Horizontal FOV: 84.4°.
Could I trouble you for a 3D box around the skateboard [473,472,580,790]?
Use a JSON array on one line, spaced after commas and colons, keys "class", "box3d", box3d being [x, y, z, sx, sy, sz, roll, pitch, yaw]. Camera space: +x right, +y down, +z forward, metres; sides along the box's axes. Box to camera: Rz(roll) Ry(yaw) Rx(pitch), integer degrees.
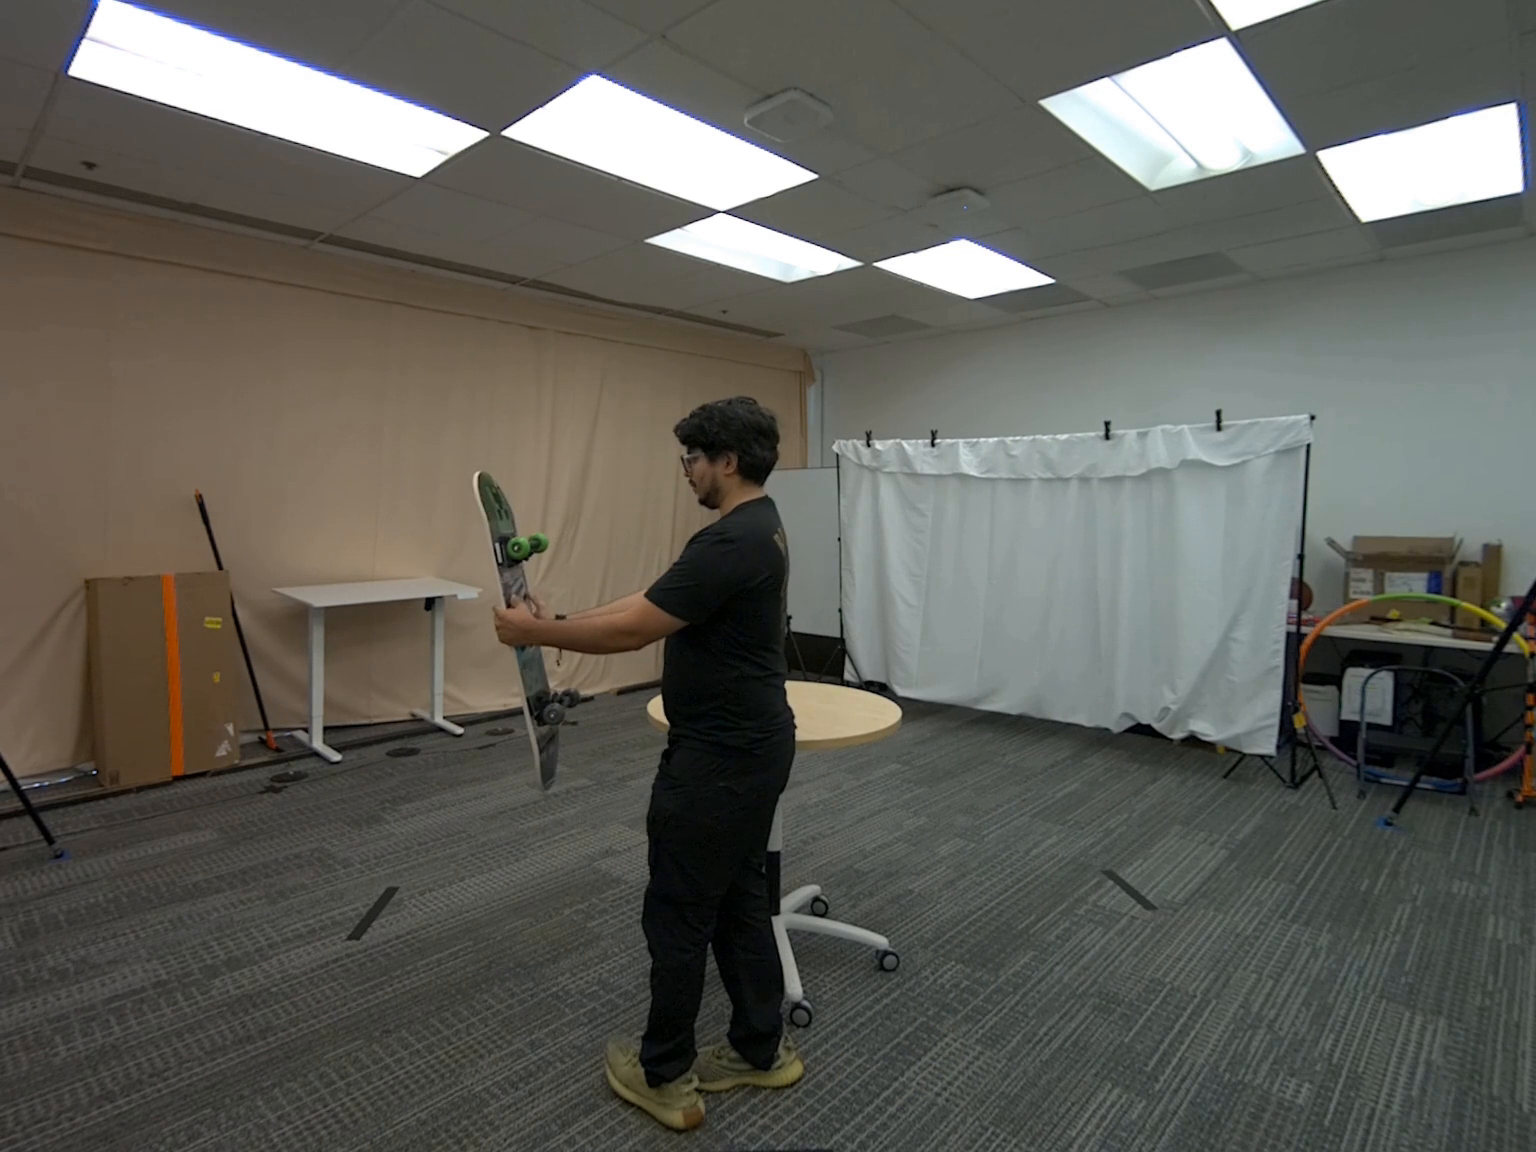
[{"class": "skateboard", "box3d": [-0.568, 0.132, 2.029, 0.110, 0.783, 0.194, -10, 3, 1]}]
